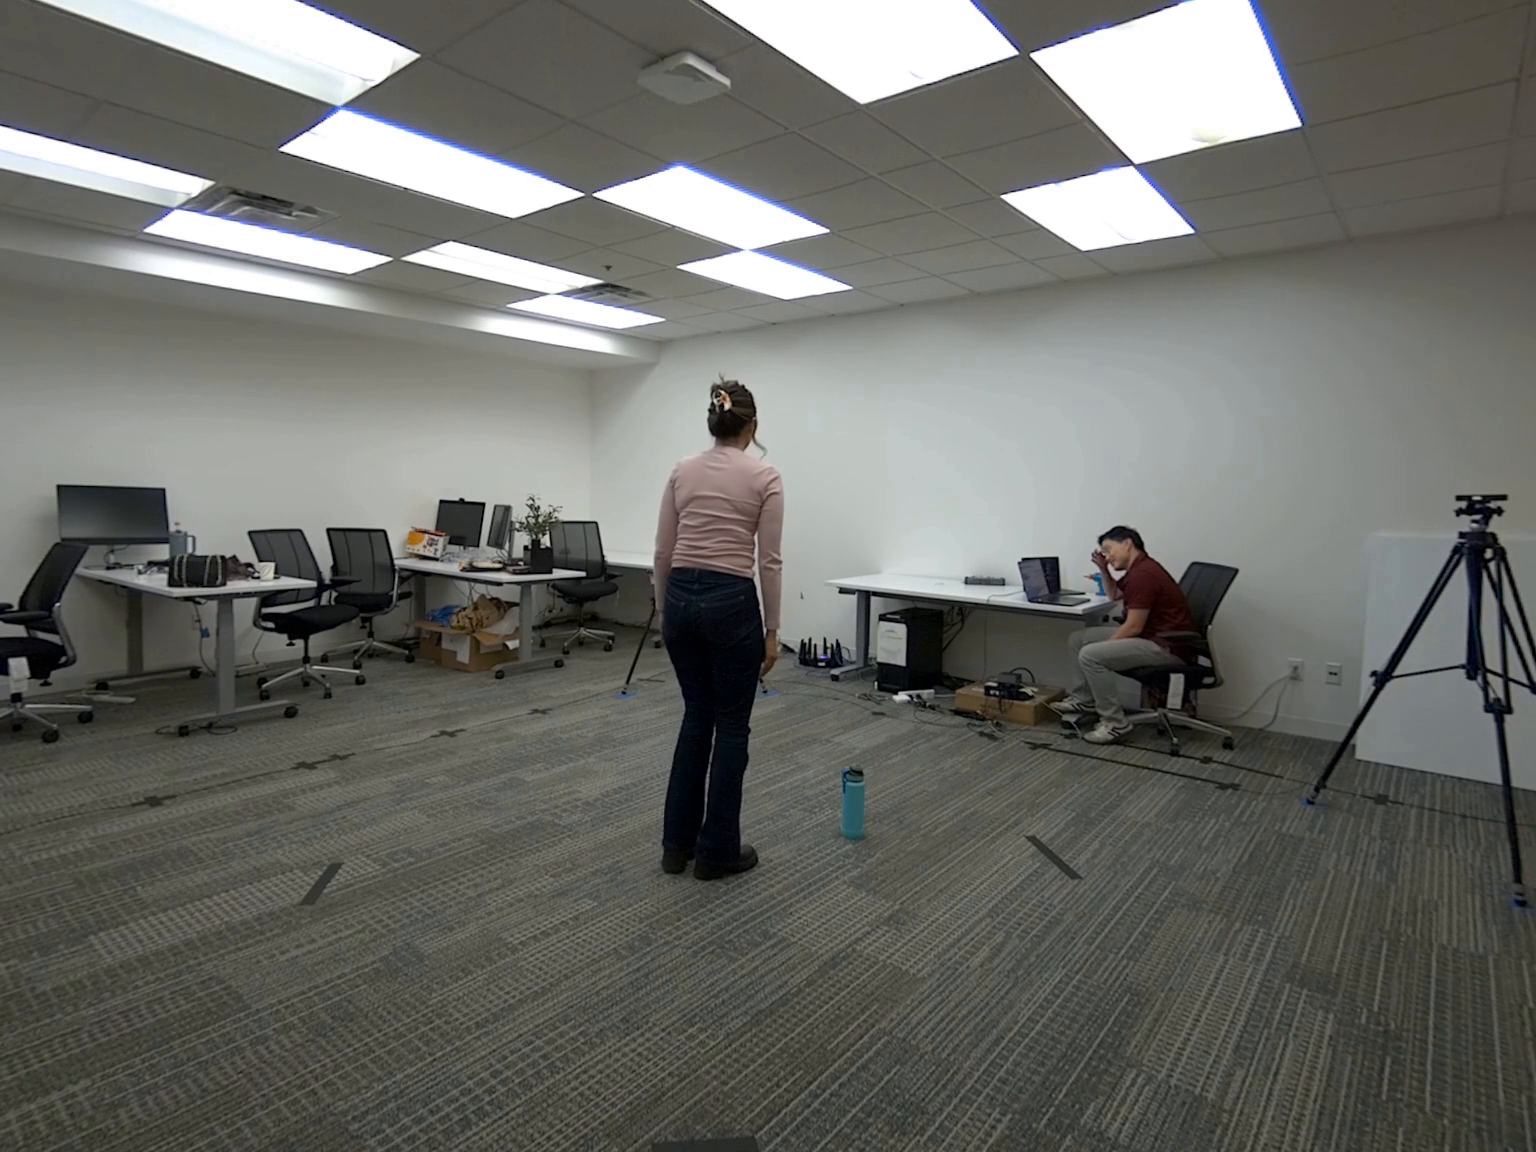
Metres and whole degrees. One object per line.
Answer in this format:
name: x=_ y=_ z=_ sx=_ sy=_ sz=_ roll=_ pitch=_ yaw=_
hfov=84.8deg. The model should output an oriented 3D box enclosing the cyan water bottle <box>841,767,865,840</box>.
cyan water bottle: x=0.332 y=0.902 z=3.435 sx=0.092 sy=0.282 sz=0.093 roll=-1 pitch=4 yaw=-2
